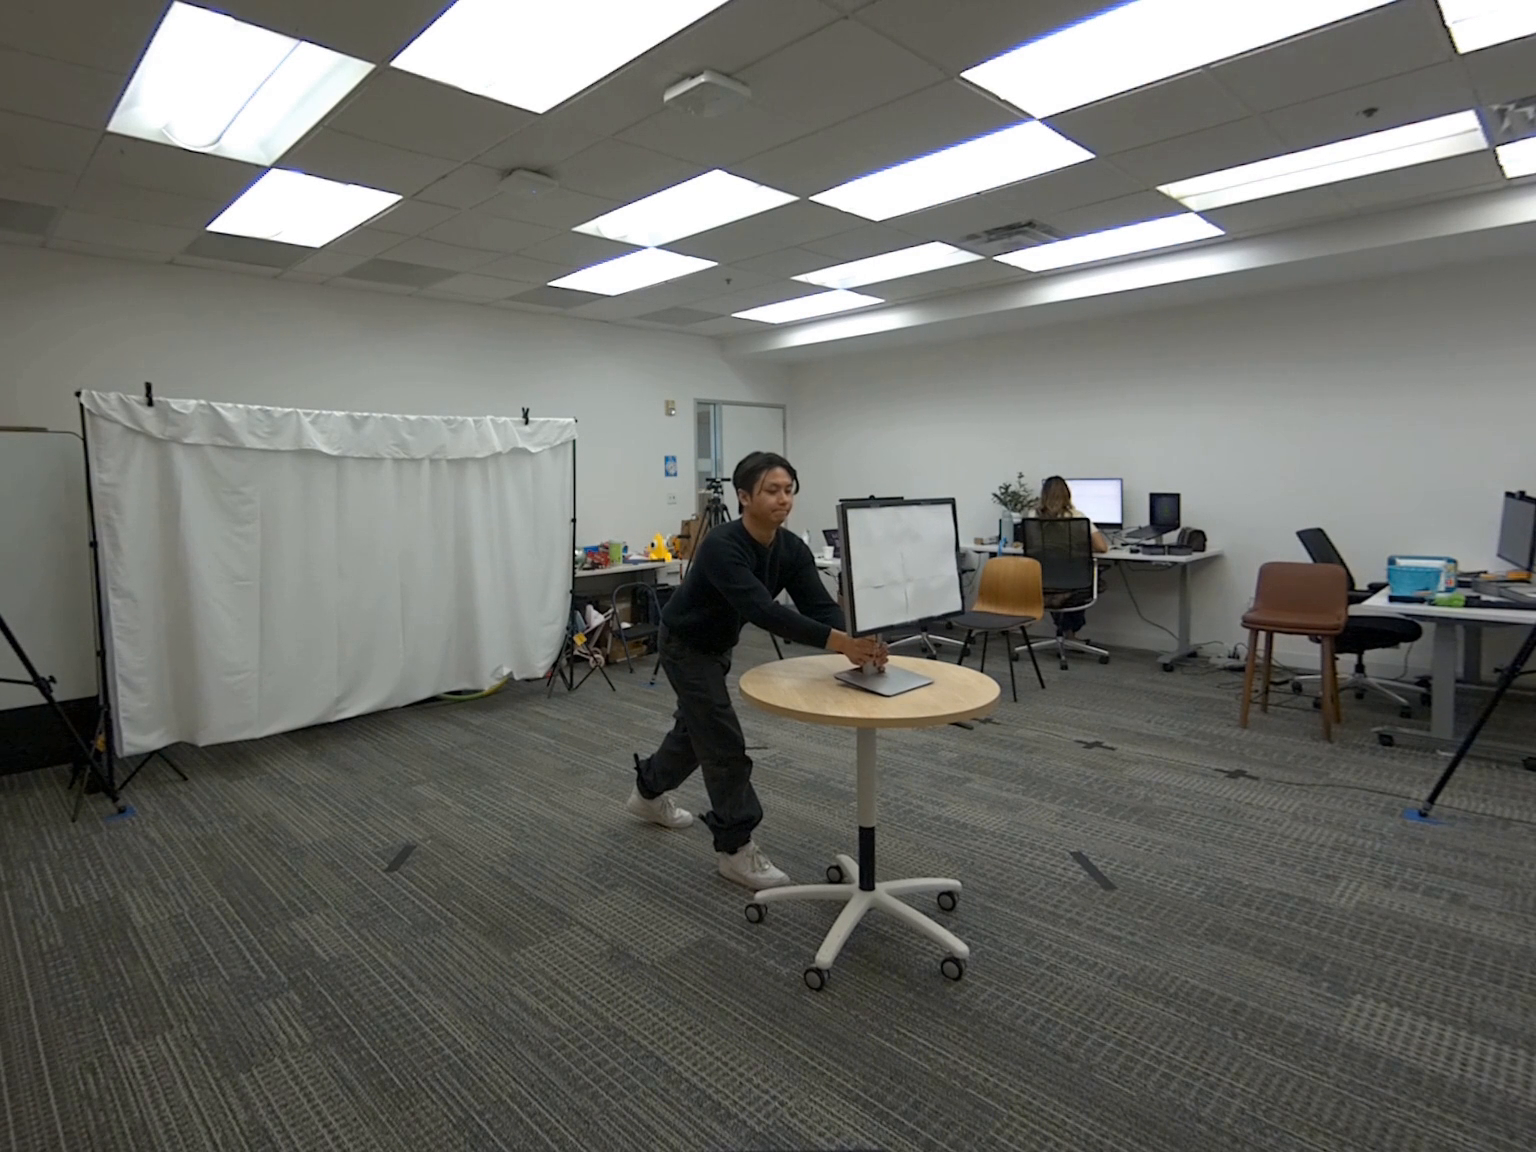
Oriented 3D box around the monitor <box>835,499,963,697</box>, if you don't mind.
[{"bbox_3d":[0.374,0.049,2.491,0.193,0.519,0.525,10,11,41],"label":"monitor"}]
